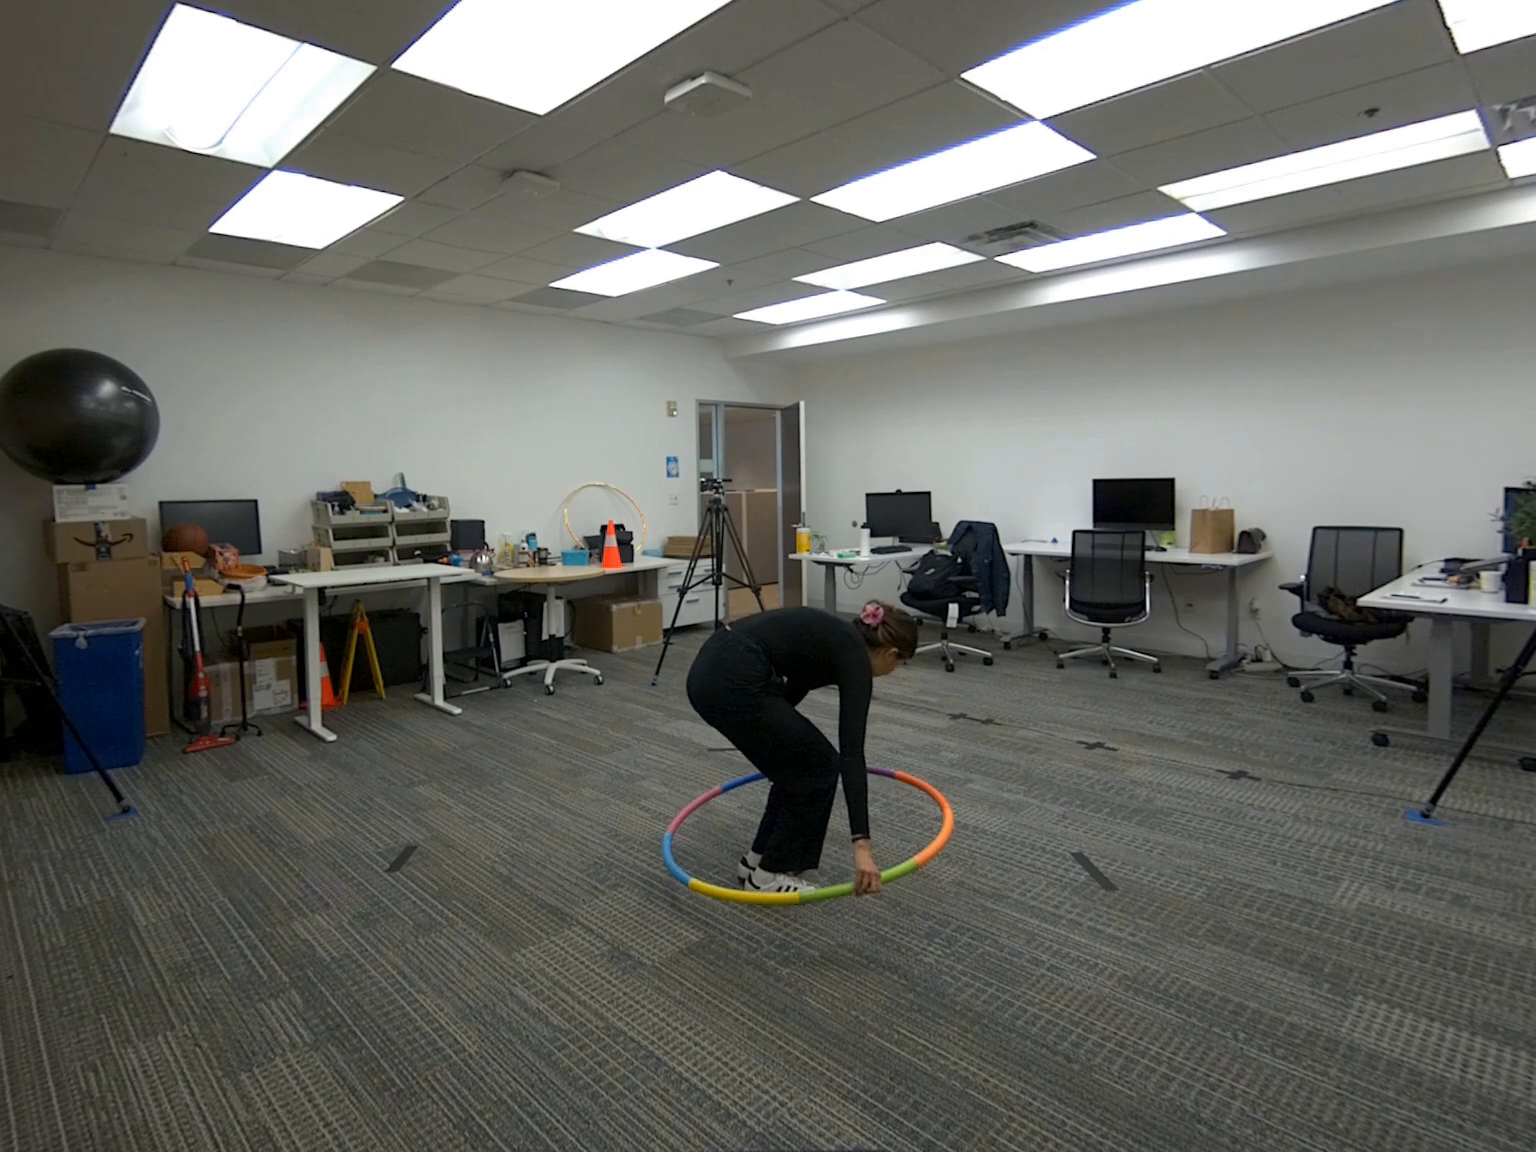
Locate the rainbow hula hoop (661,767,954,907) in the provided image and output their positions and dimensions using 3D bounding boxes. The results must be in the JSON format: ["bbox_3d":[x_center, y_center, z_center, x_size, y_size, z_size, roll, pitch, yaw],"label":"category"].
[{"bbox_3d":[0.124,0.848,2.935,0.979,0.035,0.987,-8,9,-1],"label":"rainbow hula hoop"}]
